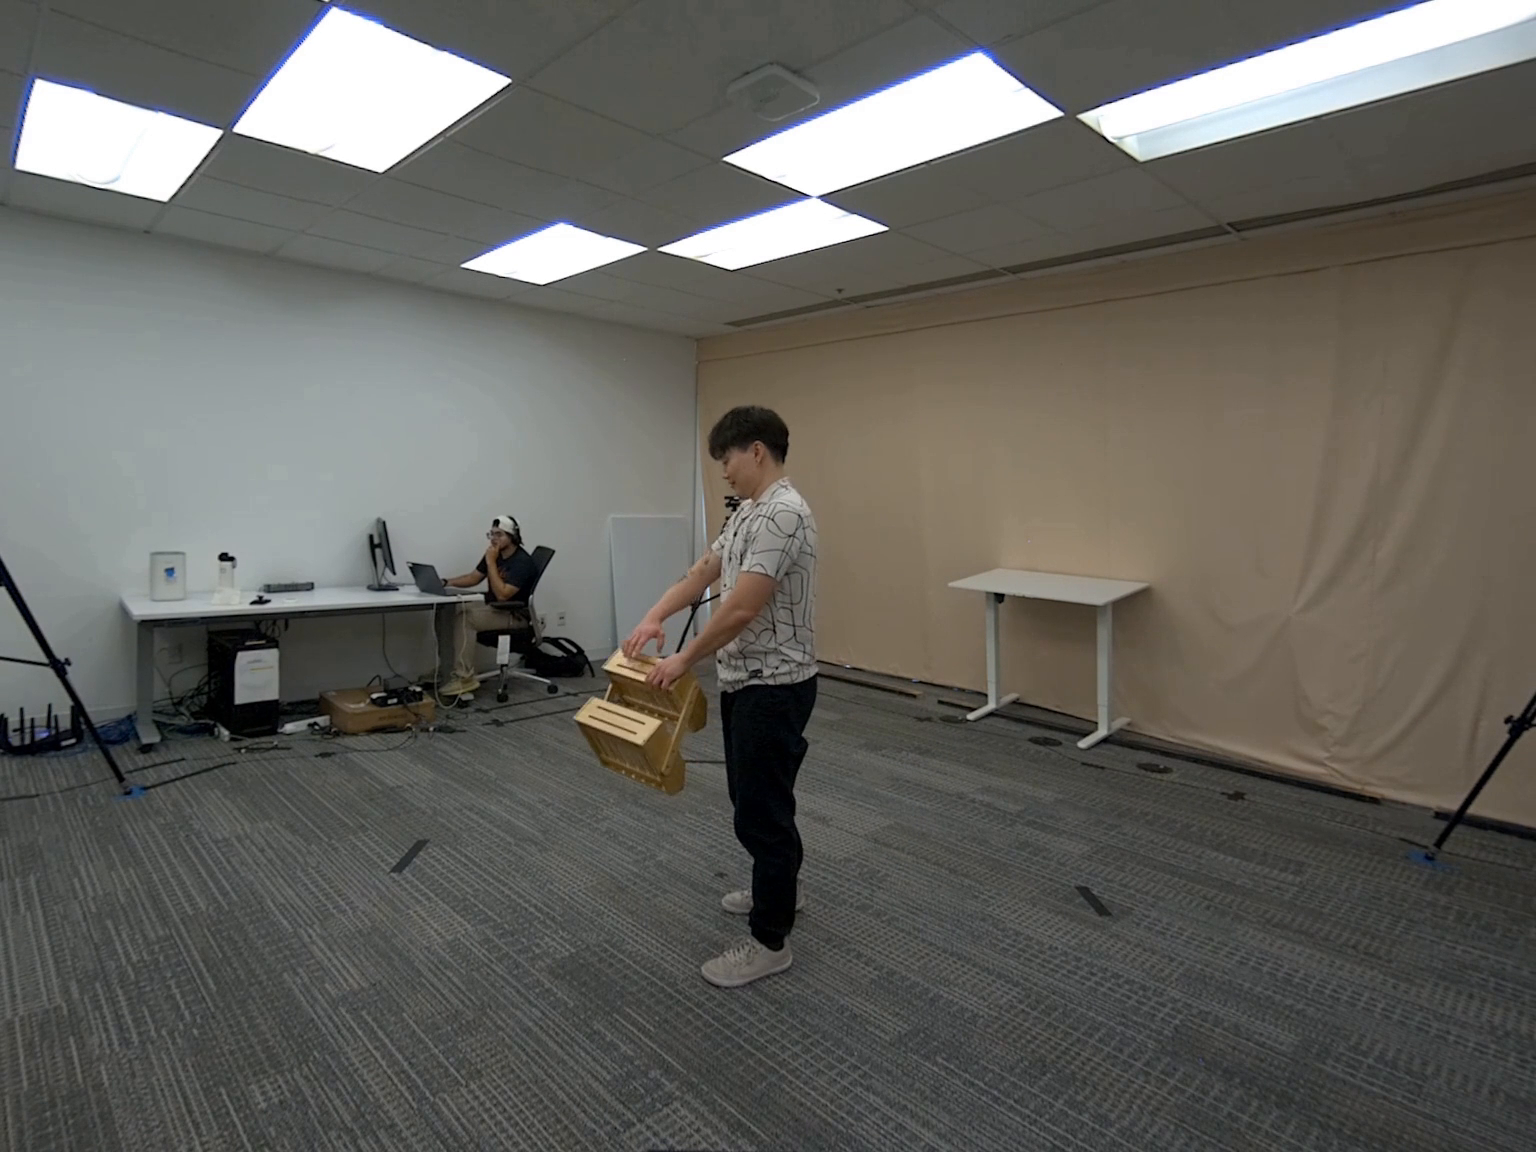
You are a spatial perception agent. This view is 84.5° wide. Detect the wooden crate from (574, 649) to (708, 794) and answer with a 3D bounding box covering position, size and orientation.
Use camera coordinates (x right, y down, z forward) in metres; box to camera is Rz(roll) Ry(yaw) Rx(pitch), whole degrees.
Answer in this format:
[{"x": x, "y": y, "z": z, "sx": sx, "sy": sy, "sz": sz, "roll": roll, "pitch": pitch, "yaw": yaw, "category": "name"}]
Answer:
[{"x": -0.374, "y": 0.433, "z": 2.566, "sx": 0.333, "sy": 0.294, "sz": 0.274, "roll": 9, "pitch": 47, "yaw": 37, "category": "wooden crate"}]
